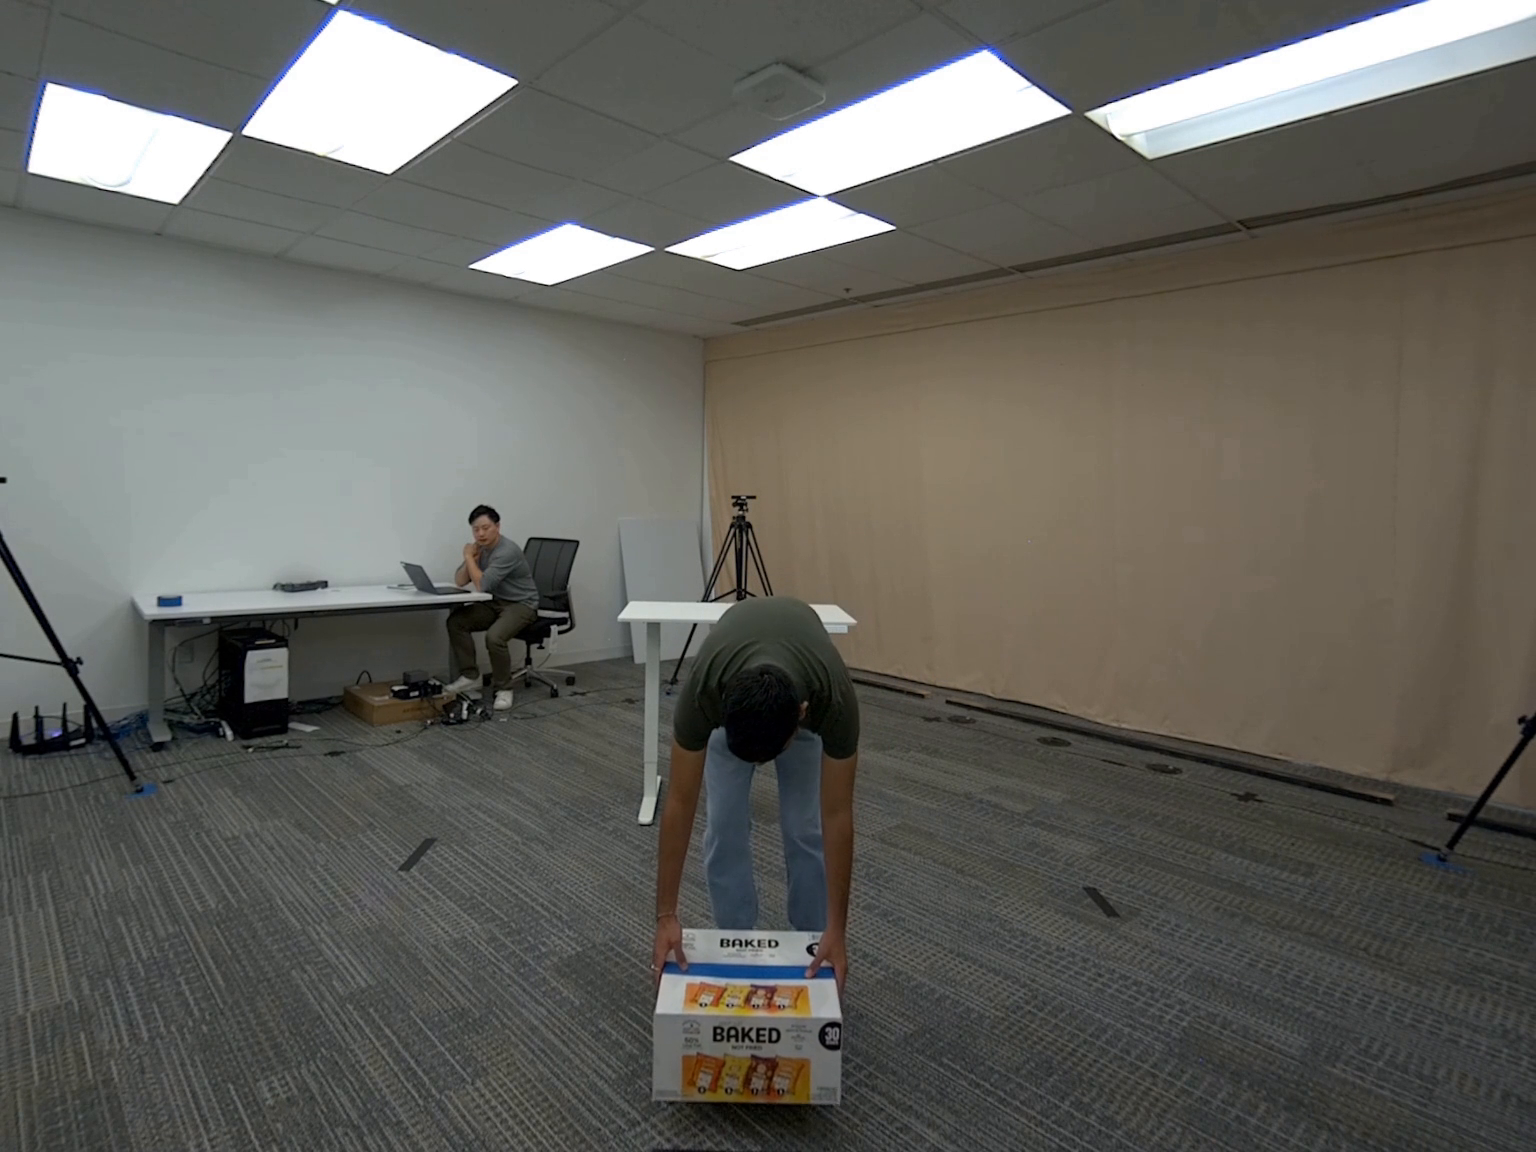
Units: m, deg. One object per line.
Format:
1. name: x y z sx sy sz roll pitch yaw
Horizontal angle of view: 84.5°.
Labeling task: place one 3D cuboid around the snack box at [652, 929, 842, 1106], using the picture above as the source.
1. snack box: -0.057 1.023 1.964 0.405 0.205 0.341 1 7 1
